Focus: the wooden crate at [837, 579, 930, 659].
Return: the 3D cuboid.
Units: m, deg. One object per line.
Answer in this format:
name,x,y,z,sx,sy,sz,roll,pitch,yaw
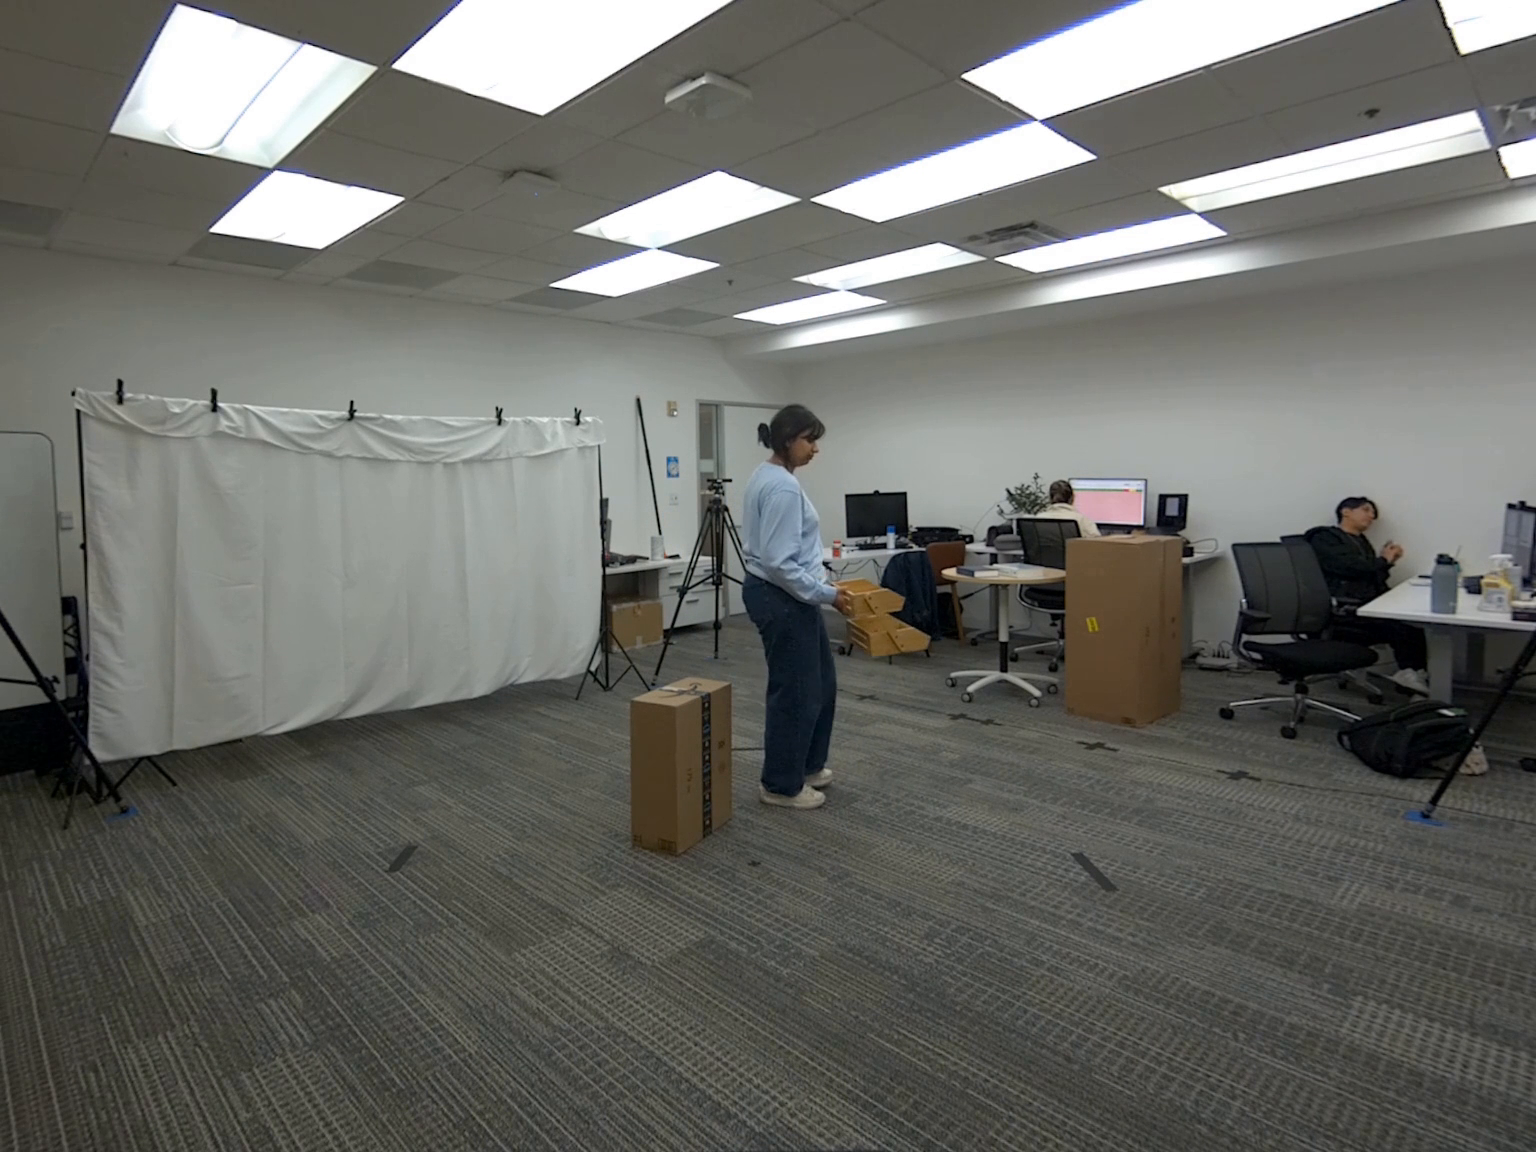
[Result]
wooden crate,0.455,0.154,3.504,0.300,0.271,0.329,-8,8,-10
